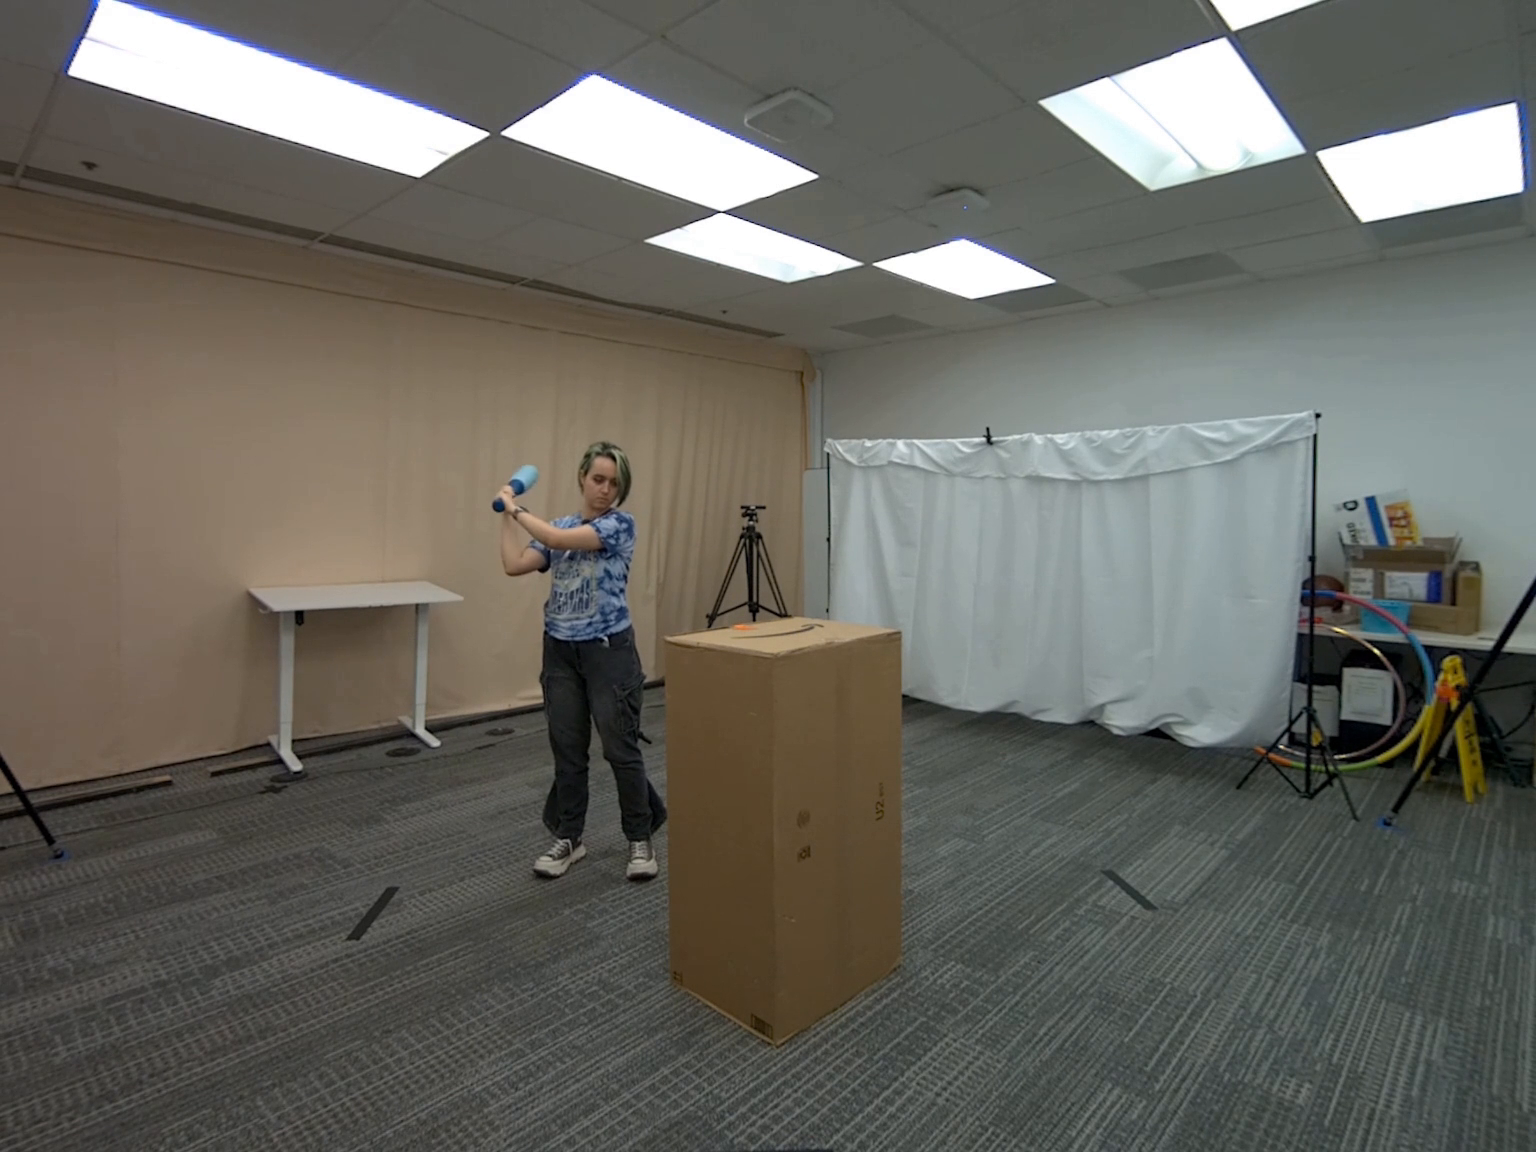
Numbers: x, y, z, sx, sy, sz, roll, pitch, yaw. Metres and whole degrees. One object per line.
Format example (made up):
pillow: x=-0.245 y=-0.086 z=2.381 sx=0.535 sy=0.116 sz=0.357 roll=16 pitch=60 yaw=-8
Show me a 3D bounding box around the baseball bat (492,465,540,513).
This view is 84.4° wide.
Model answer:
baseball bat: x=-0.982 y=-0.338 z=3.345 sx=0.088 sy=0.088 sz=0.554 roll=-1 pitch=20 yaw=-10
